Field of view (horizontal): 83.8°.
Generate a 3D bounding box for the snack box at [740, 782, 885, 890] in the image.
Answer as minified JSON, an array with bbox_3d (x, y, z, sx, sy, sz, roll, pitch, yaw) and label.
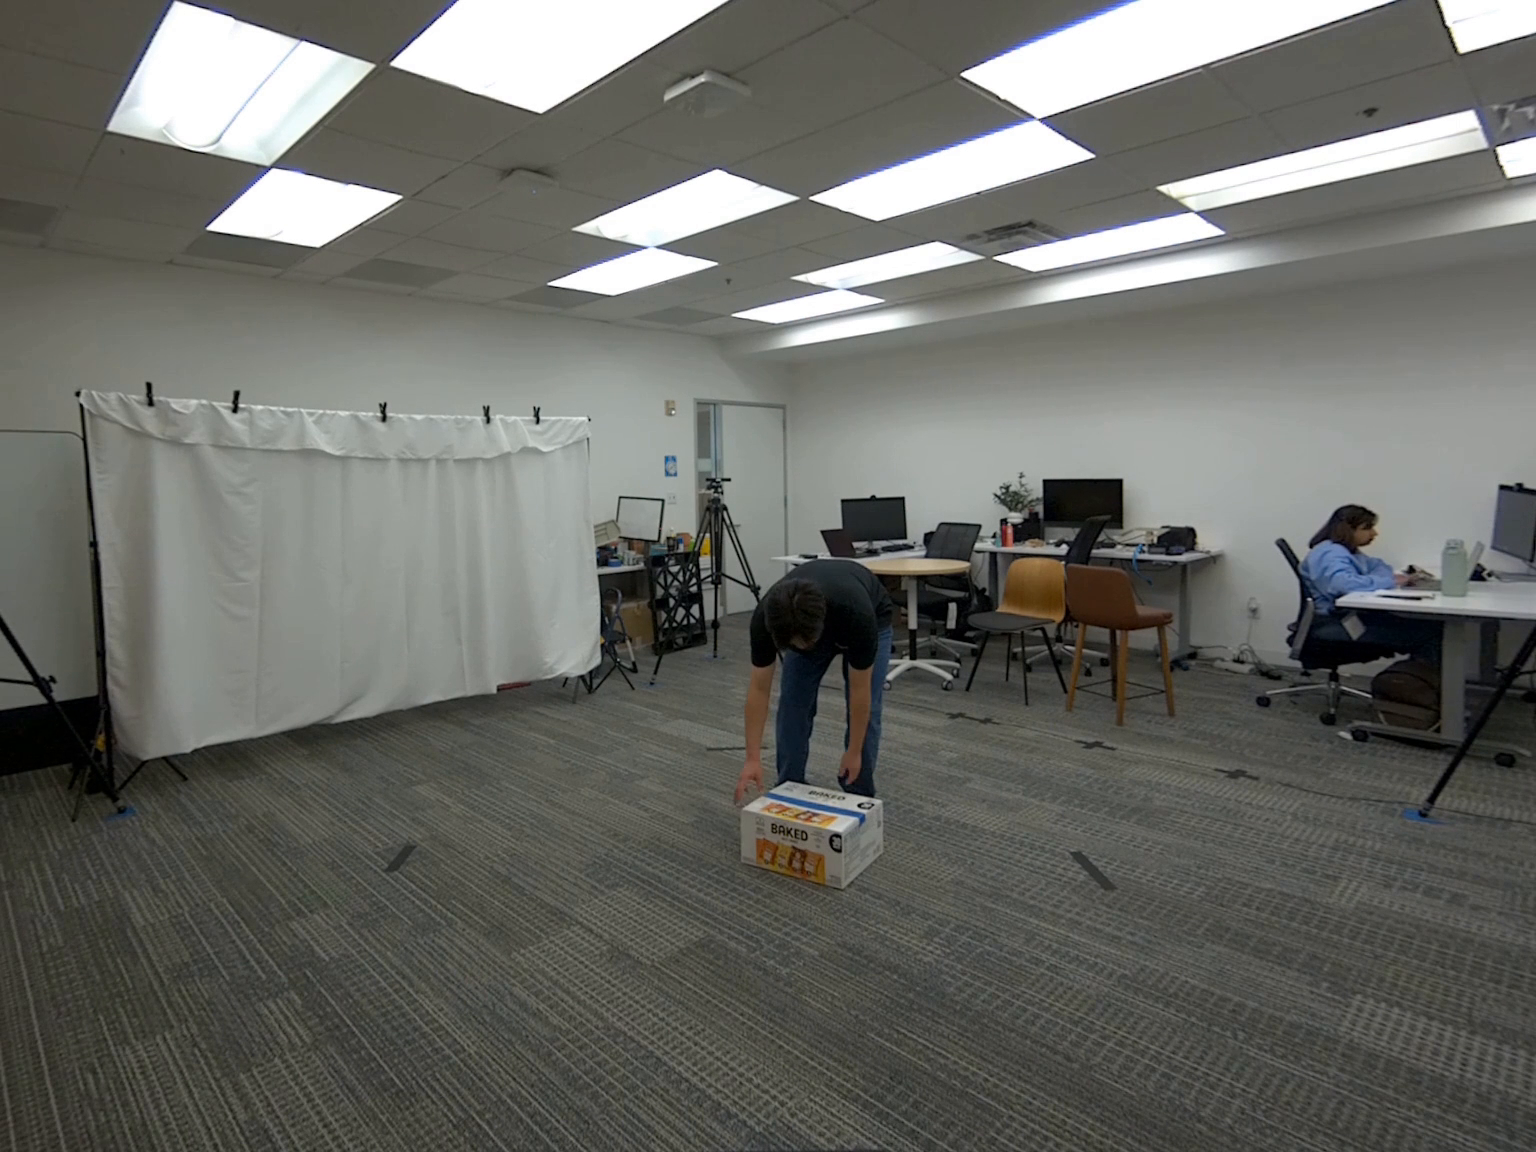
[{"bbox_3d":[0.167,0.934,3.124,0.416,0.205,0.332,2,7,32],"label":"snack box"}]
